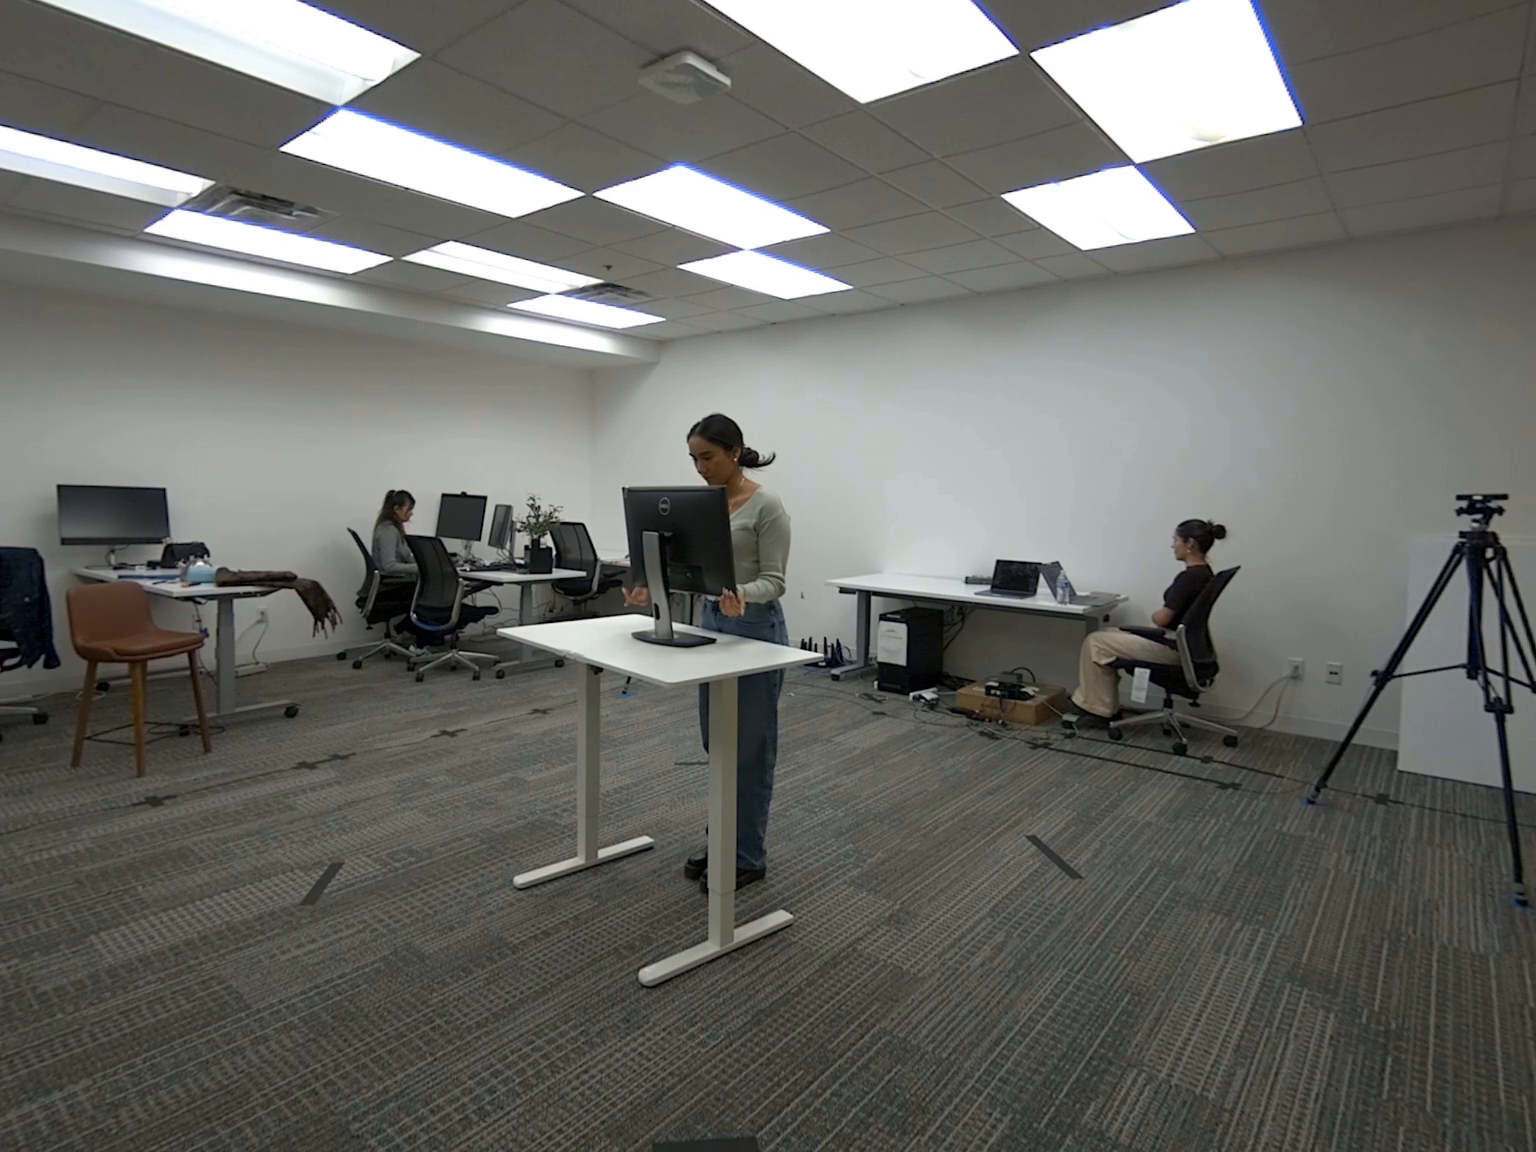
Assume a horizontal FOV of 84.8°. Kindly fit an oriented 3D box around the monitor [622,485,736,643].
[{"bbox_3d":[-0.326,-0.034,2.800,0.558,0.521,0.181,5,4,45],"label":"monitor"}]
